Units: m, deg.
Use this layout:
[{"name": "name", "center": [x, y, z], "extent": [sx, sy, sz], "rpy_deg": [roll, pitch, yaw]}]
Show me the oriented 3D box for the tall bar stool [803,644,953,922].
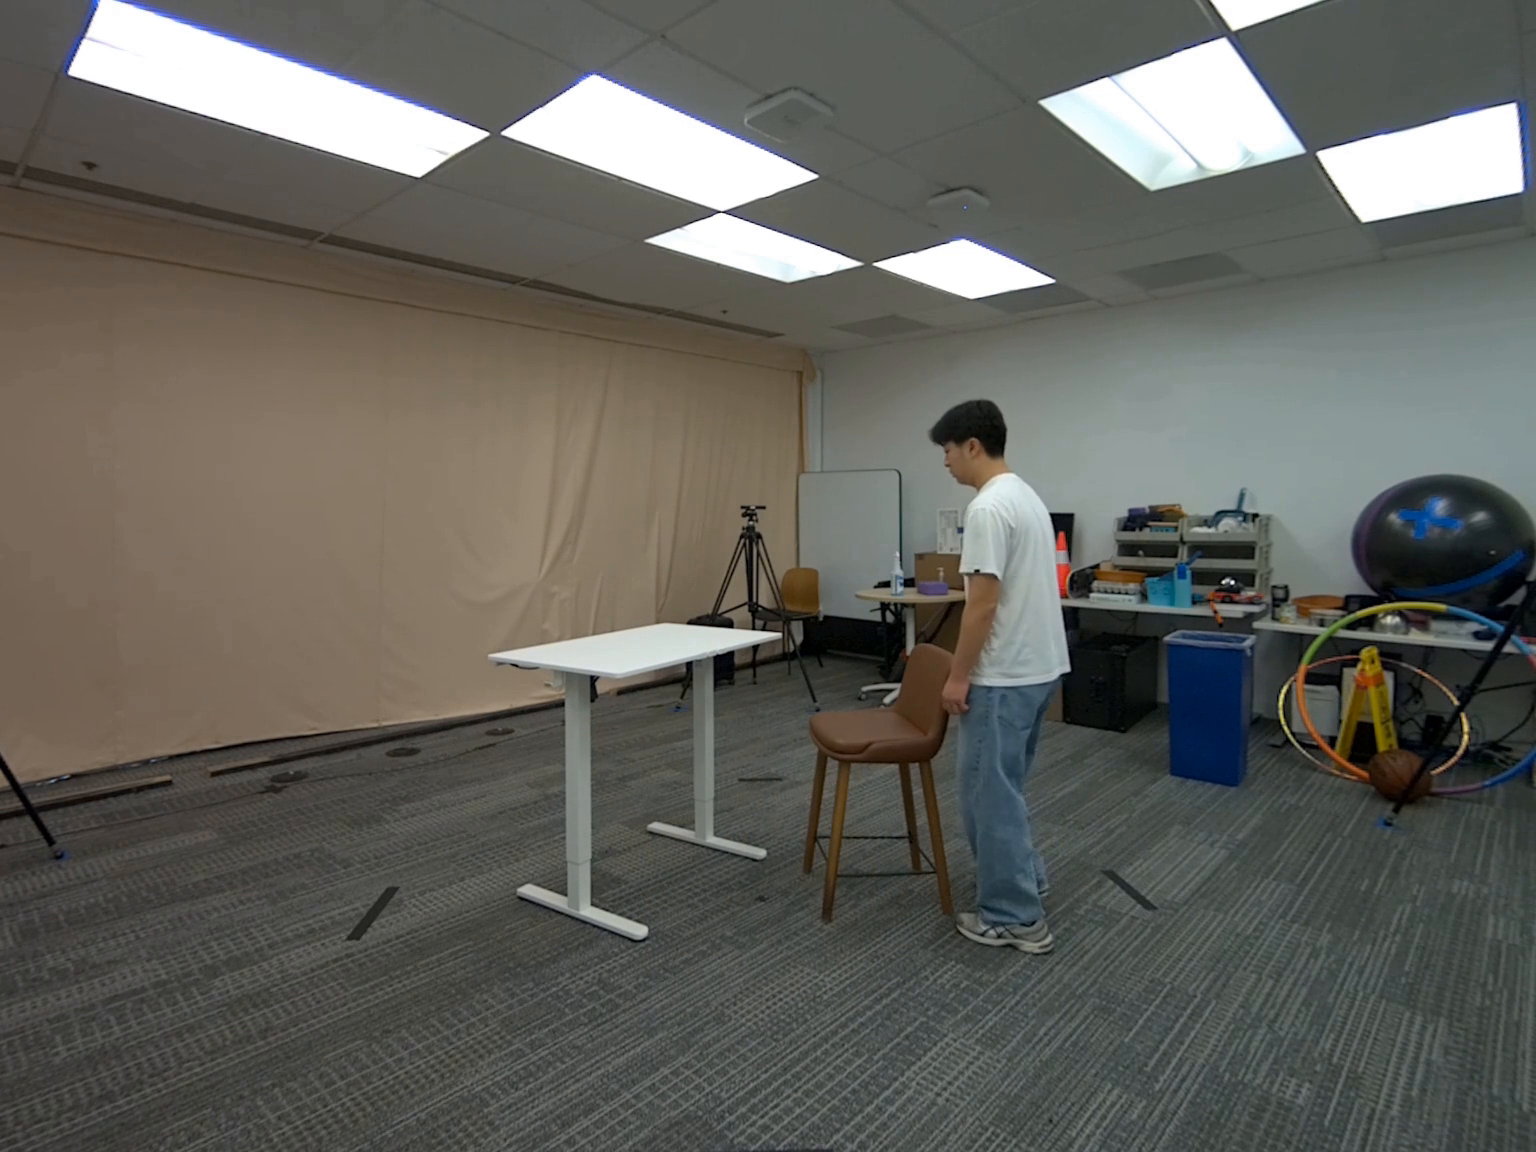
[{"name": "tall bar stool", "center": [0.395, 0.705, 2.997], "extent": [0.464, 0.888, 0.460], "rpy_deg": [2, 3, -7]}]
